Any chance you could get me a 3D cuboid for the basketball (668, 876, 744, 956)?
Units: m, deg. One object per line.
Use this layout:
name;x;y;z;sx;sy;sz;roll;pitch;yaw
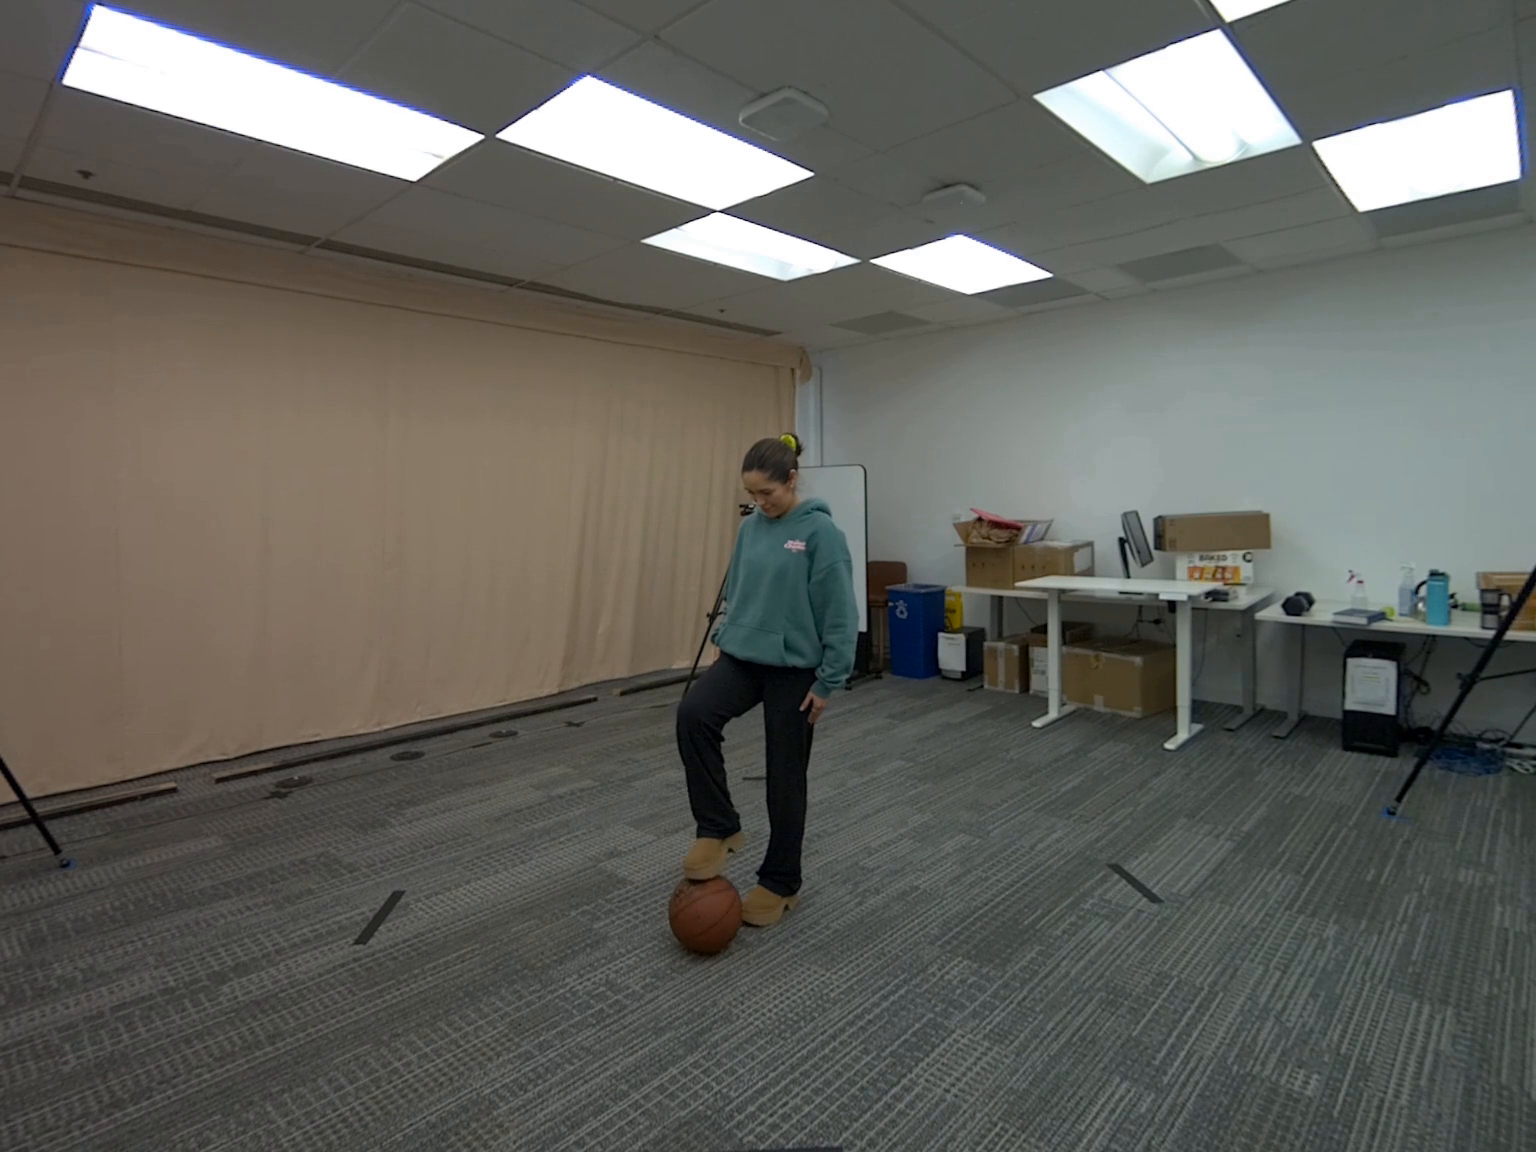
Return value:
basketball;-0.199;1.055;2.634;0.236;0.235;0.237;-1;4;-2
